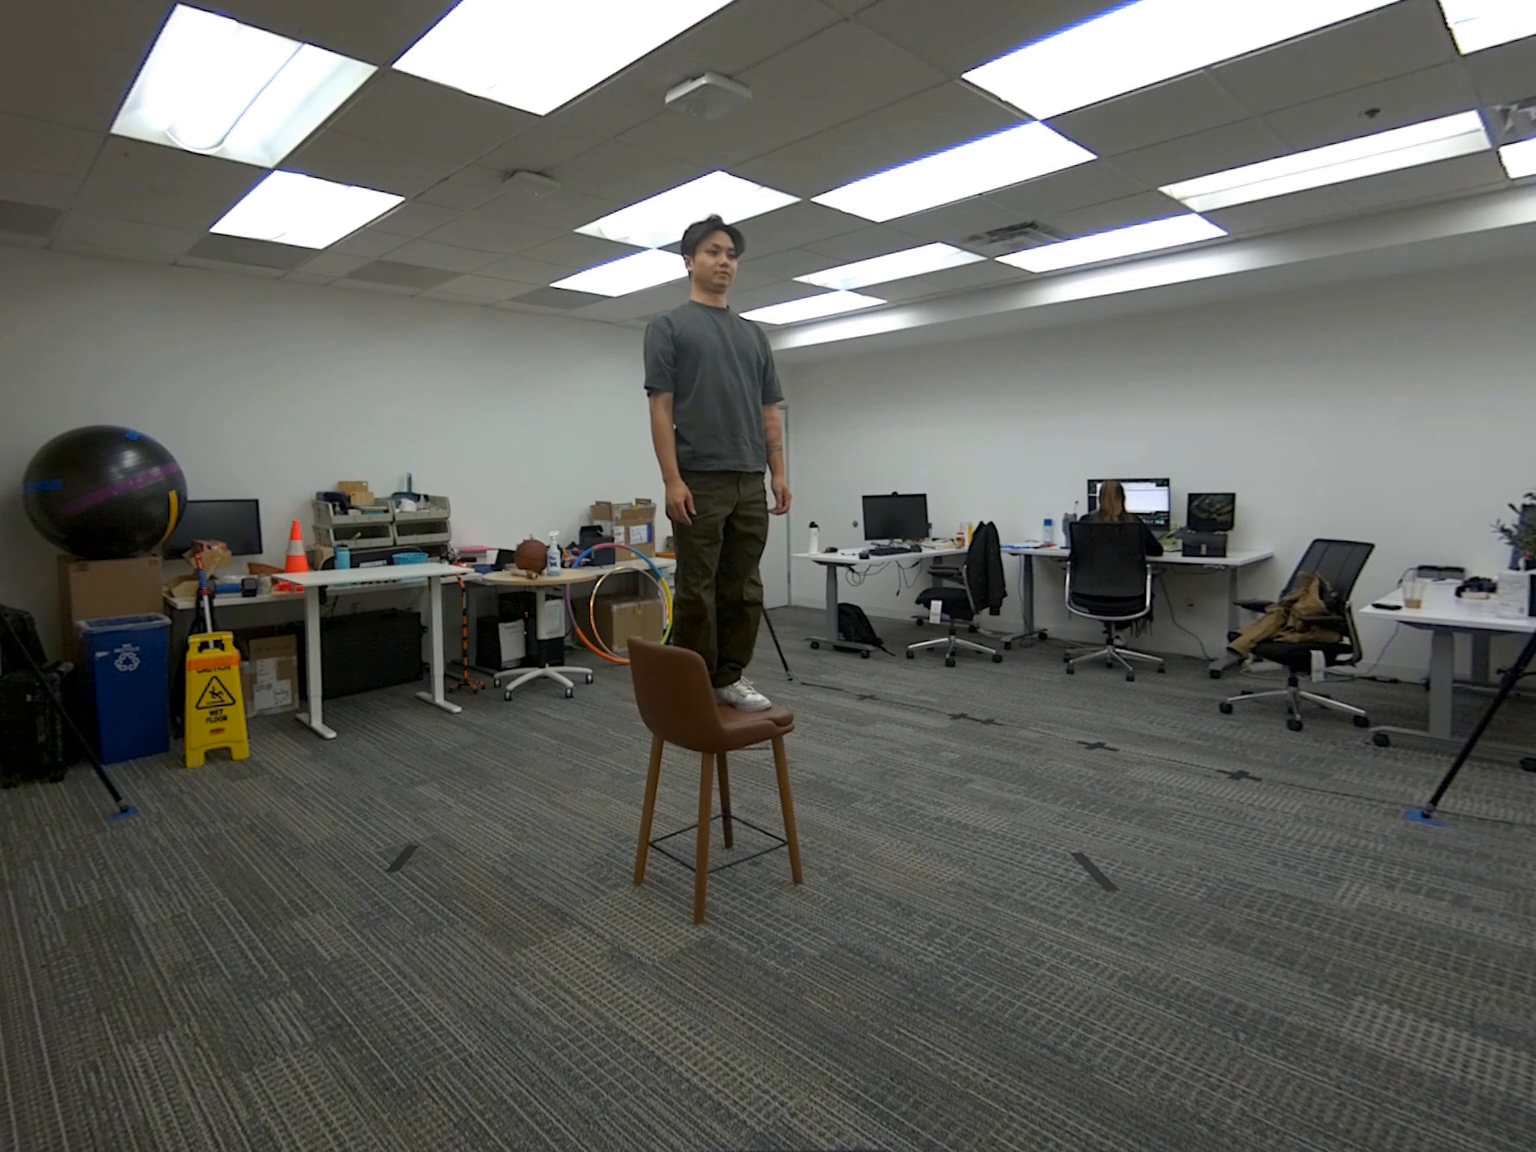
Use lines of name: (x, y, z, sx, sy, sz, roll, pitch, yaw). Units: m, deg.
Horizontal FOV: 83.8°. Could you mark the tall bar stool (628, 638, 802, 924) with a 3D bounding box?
tall bar stool: (-0.187, 0.630, 2.936, 0.456, 0.885, 0.470, -6, 7, -40)
